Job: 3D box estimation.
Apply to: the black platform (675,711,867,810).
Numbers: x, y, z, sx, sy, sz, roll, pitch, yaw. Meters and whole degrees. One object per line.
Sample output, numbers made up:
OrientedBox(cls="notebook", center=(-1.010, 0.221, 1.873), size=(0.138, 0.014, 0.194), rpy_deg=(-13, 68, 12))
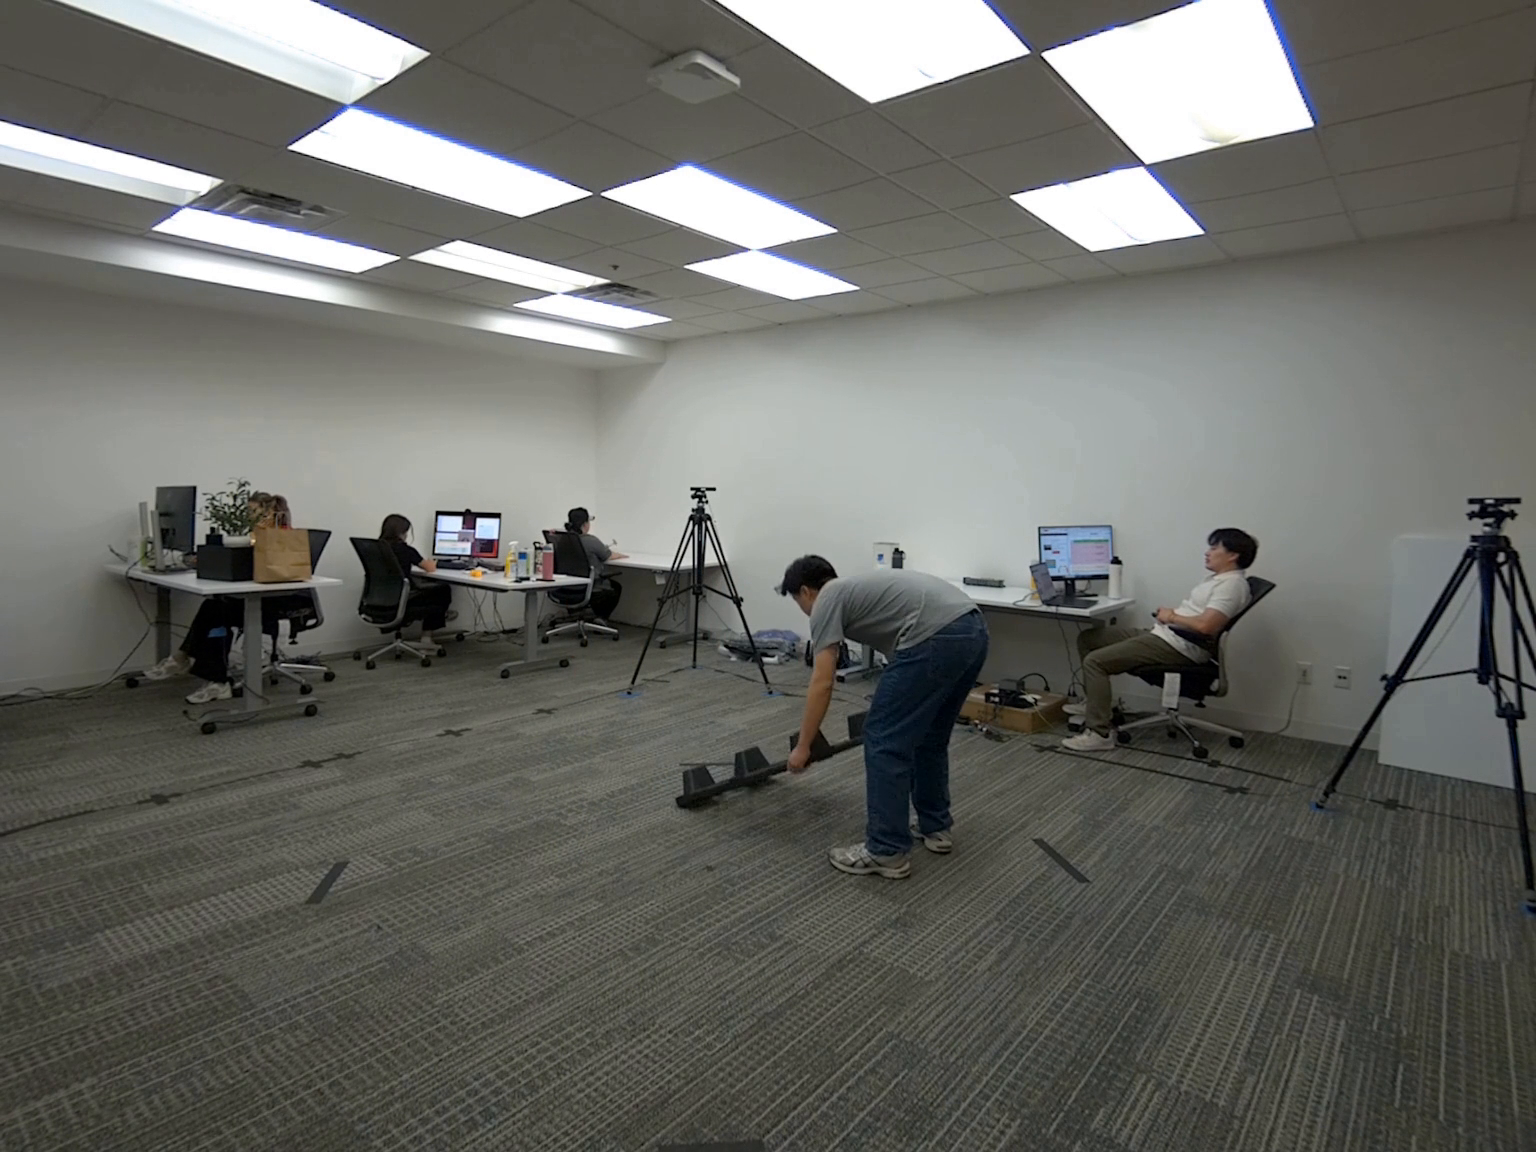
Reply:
OrientedBox(cls="black platform", center=(0.037, 0.782, 3.693), size=(0.816, 0.146, 0.587), rpy_deg=(-27, -15, 38))
